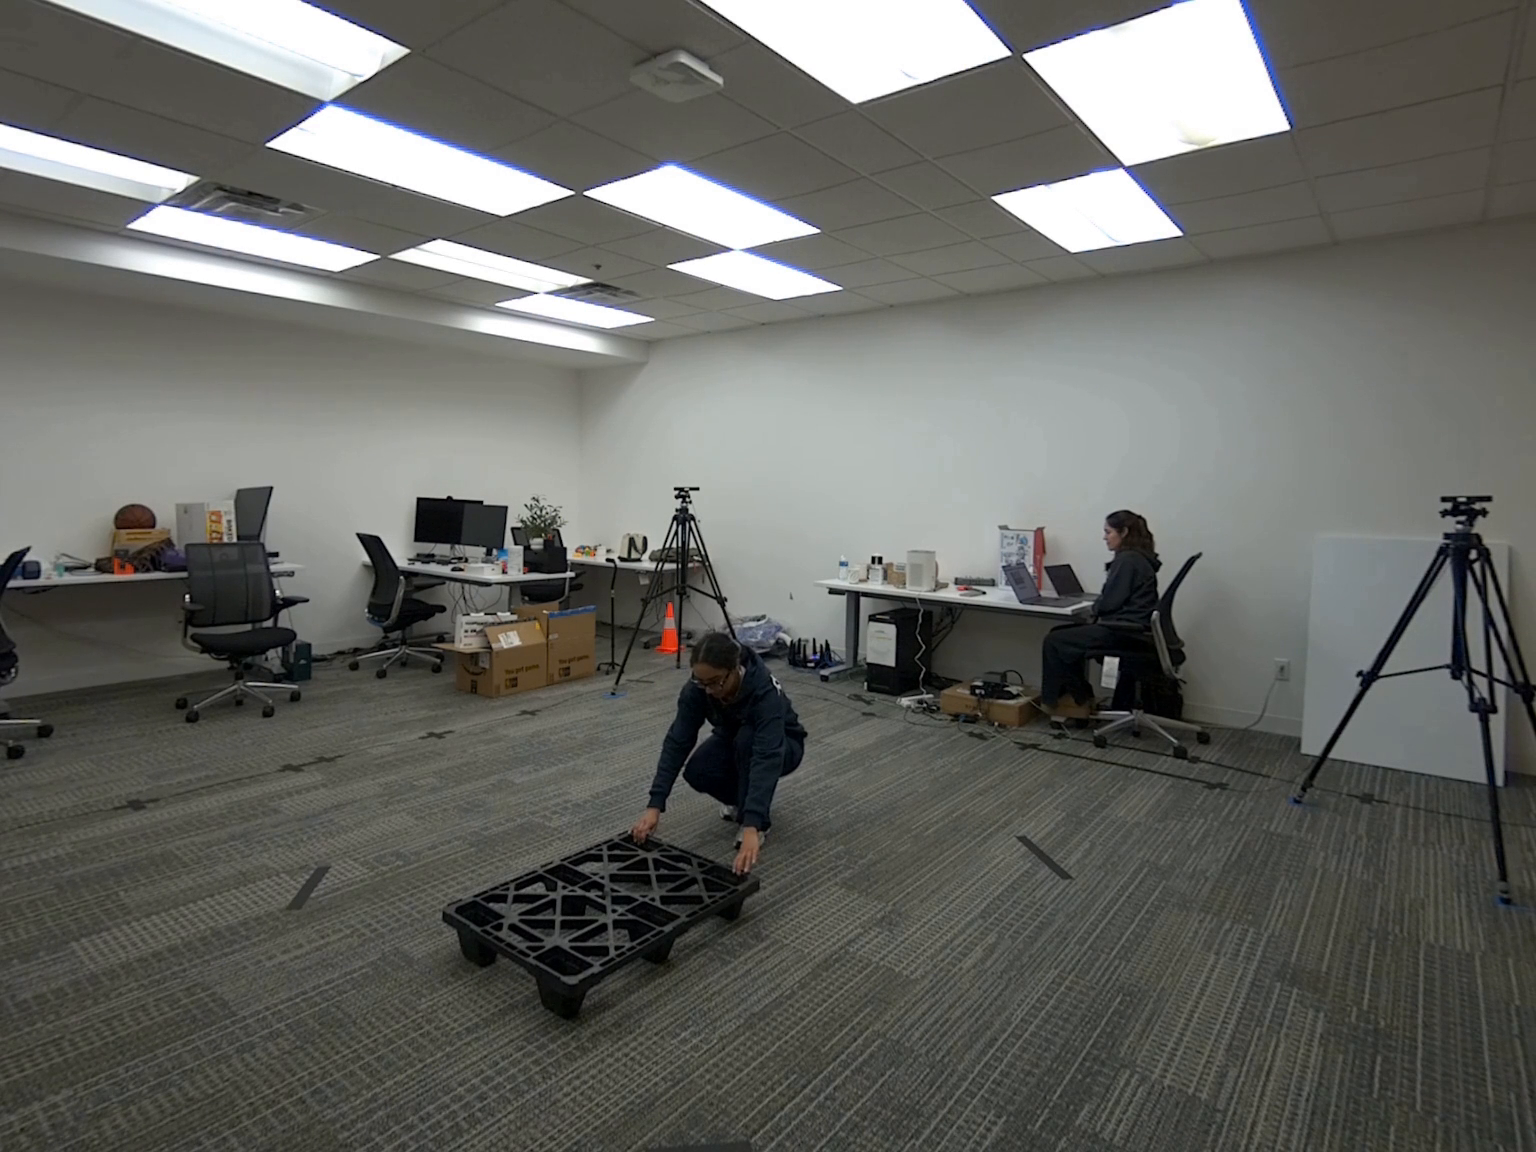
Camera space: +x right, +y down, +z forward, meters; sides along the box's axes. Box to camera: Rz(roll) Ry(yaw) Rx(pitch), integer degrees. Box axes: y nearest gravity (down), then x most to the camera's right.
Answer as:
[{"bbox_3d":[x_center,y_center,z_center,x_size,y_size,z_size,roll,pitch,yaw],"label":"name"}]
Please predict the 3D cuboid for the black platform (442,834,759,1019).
[{"bbox_3d":[-0.503,1.044,2.635,0.625,0.142,0.782,6,8,38],"label":"black platform"}]
